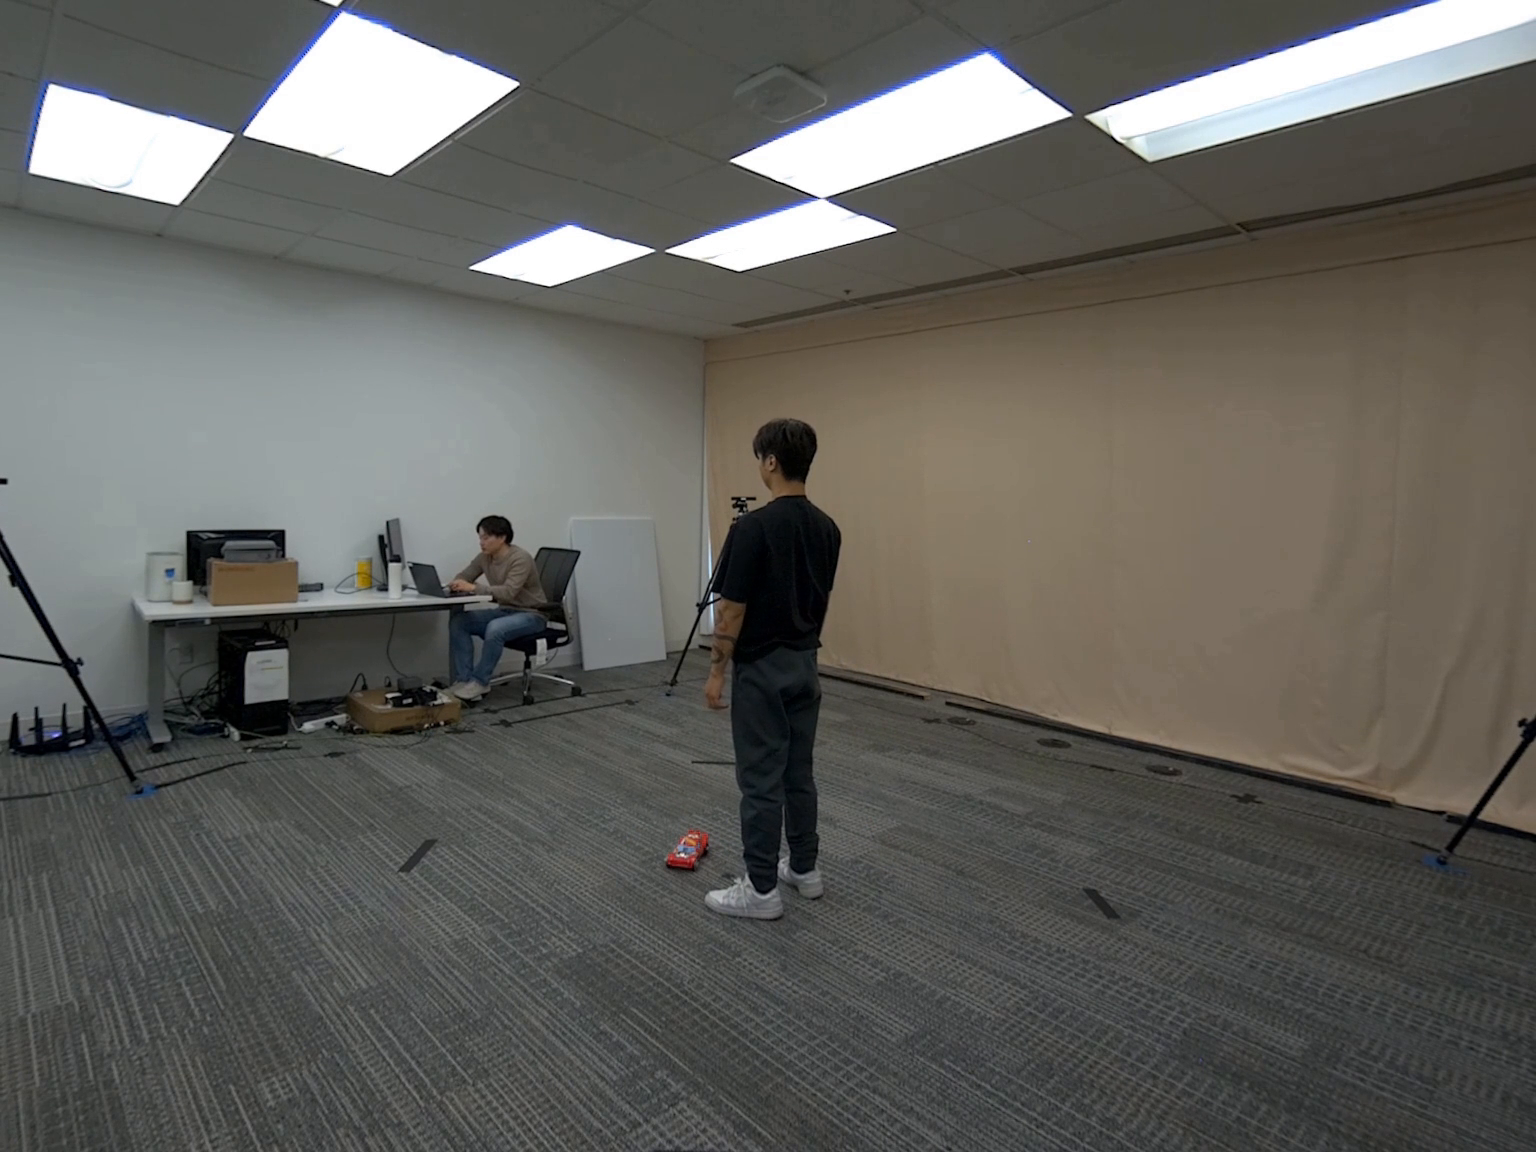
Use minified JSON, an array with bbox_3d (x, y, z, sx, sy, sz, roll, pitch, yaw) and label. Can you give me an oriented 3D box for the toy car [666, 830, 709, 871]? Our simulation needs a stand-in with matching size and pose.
[{"bbox_3d":[-0.308,1.058,3.245,0.132,0.082,0.254,2,16,13],"label":"toy car"}]
